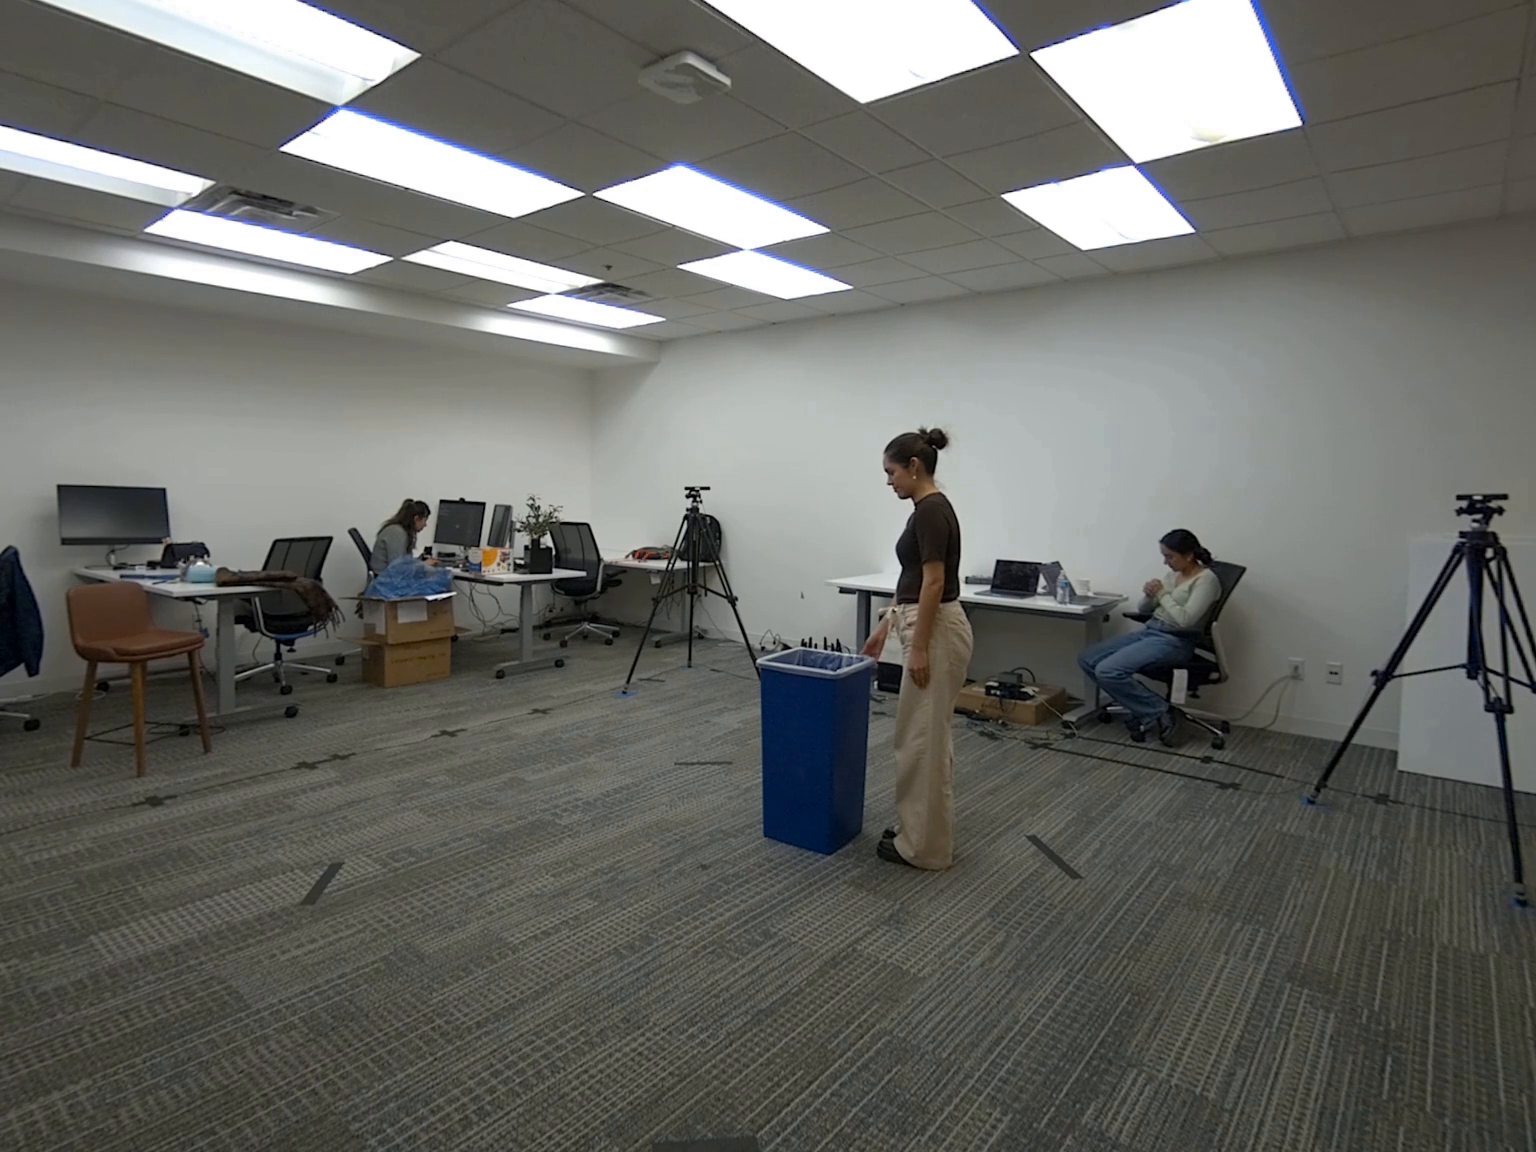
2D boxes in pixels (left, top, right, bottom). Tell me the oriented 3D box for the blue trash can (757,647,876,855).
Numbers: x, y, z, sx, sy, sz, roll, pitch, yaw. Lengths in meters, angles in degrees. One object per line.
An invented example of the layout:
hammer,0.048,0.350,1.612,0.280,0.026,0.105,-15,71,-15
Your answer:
blue trash can,0.180,0.682,3.412,0.390,0.712,0.364,3,4,33
